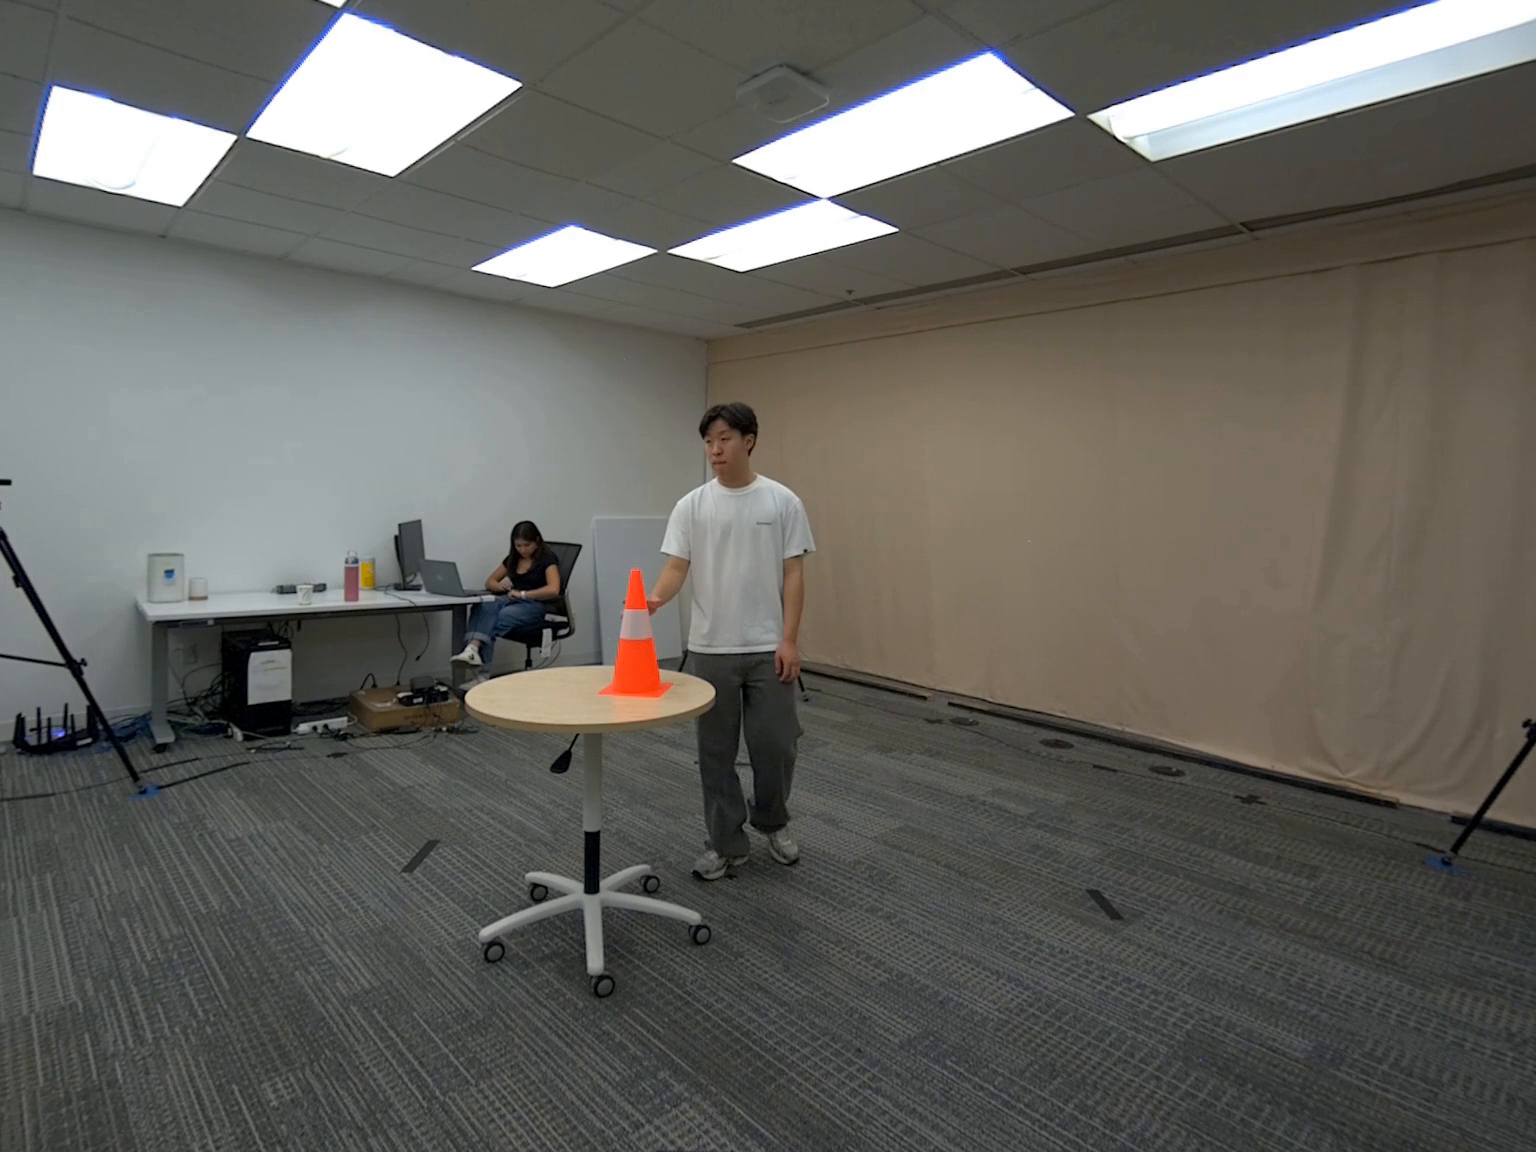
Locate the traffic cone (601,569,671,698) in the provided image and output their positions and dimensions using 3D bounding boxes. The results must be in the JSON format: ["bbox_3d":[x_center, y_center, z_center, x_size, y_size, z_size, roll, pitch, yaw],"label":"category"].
[{"bbox_3d":[-0.422,0.177,2.646,0.205,0.383,0.203,1,2,10],"label":"traffic cone"}]
